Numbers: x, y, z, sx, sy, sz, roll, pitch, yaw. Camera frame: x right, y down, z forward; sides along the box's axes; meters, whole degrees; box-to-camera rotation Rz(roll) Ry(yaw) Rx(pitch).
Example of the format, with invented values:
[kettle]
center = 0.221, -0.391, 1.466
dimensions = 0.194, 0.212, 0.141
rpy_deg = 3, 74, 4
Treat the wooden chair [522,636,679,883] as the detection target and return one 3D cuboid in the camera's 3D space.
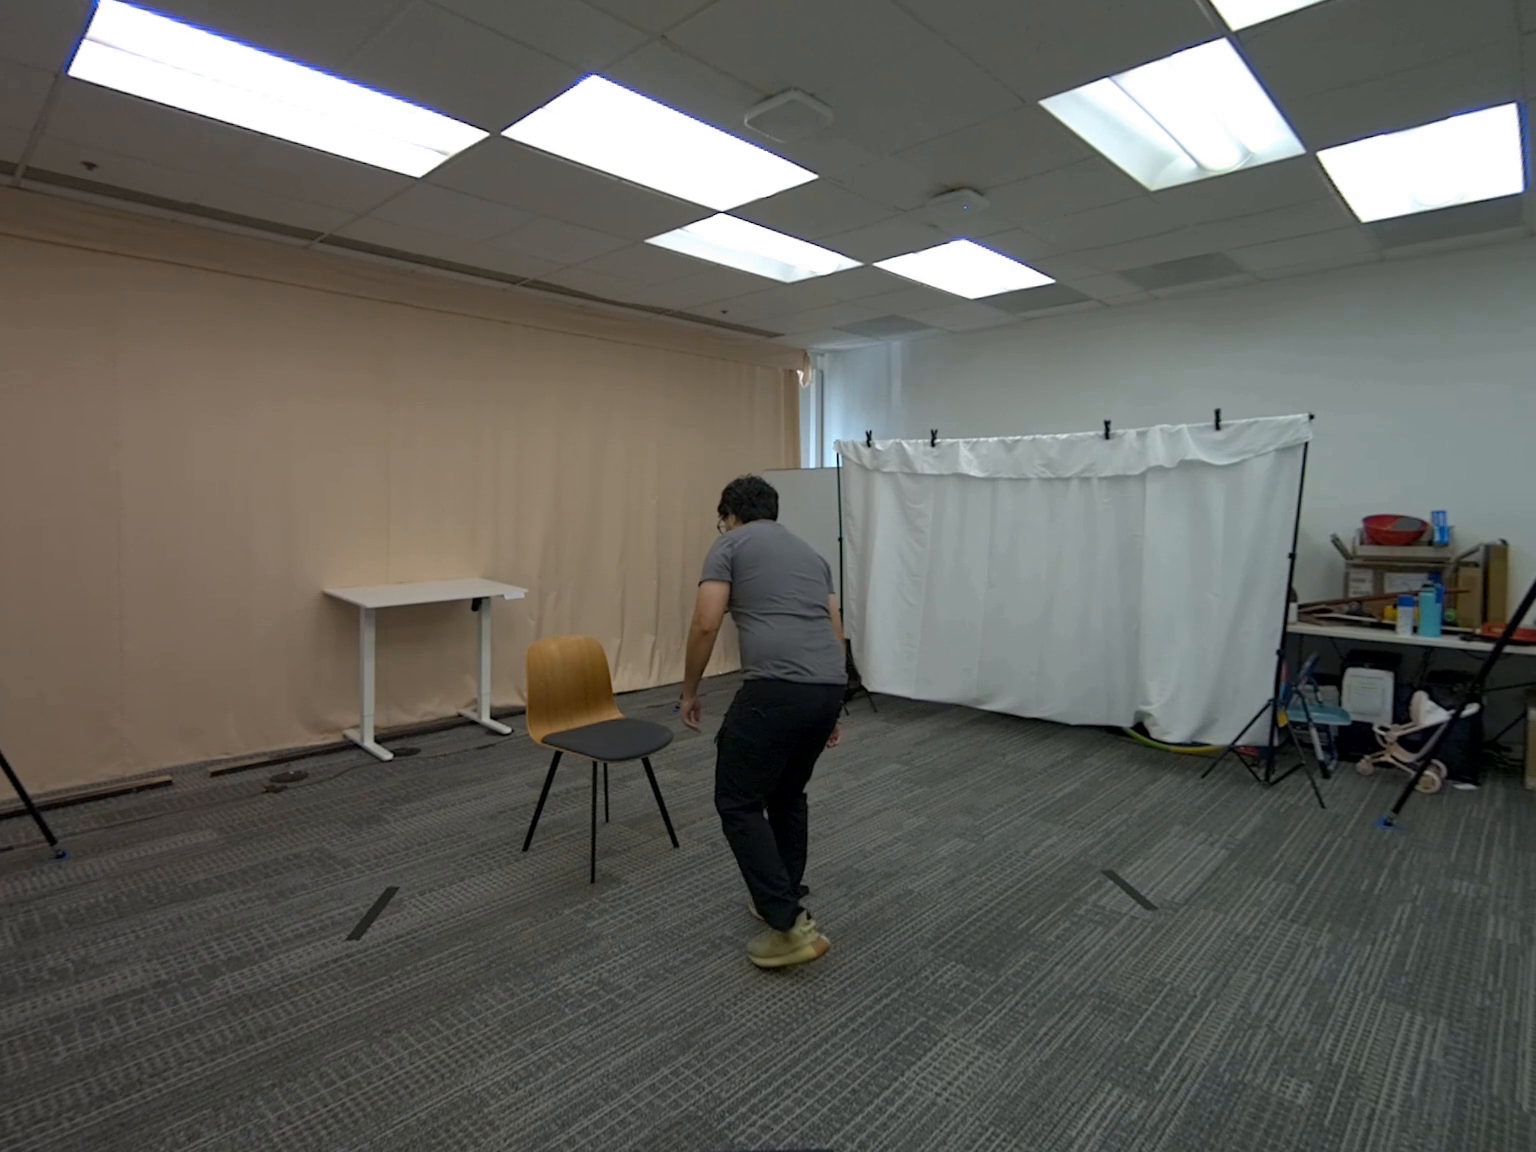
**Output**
[wooden chair]
center = -0.676, 0.689, 3.393
dimensions = 0.539, 0.877, 0.463
rpy_deg = -4, 0, 41
